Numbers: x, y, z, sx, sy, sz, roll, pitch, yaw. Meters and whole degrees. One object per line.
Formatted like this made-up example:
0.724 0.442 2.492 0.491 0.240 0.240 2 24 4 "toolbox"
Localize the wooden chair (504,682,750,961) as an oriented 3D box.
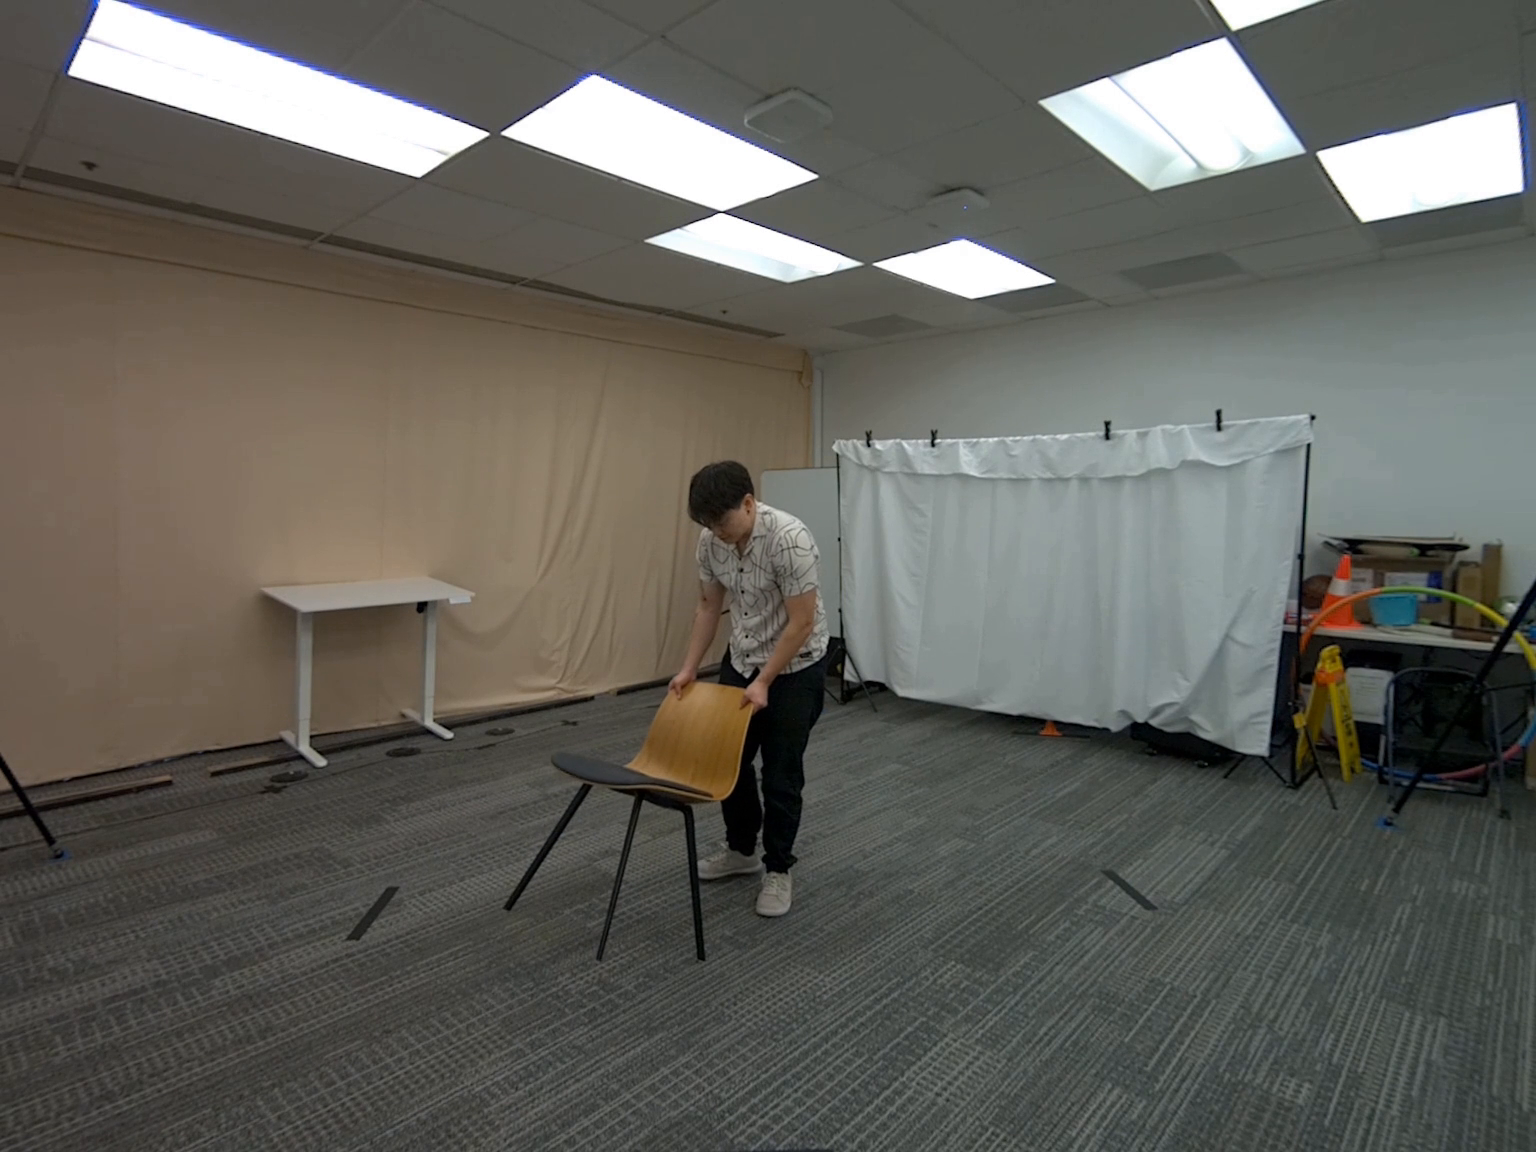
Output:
-0.397 0.688 2.658 0.494 0.881 0.504 3 -22 41 "wooden chair"
